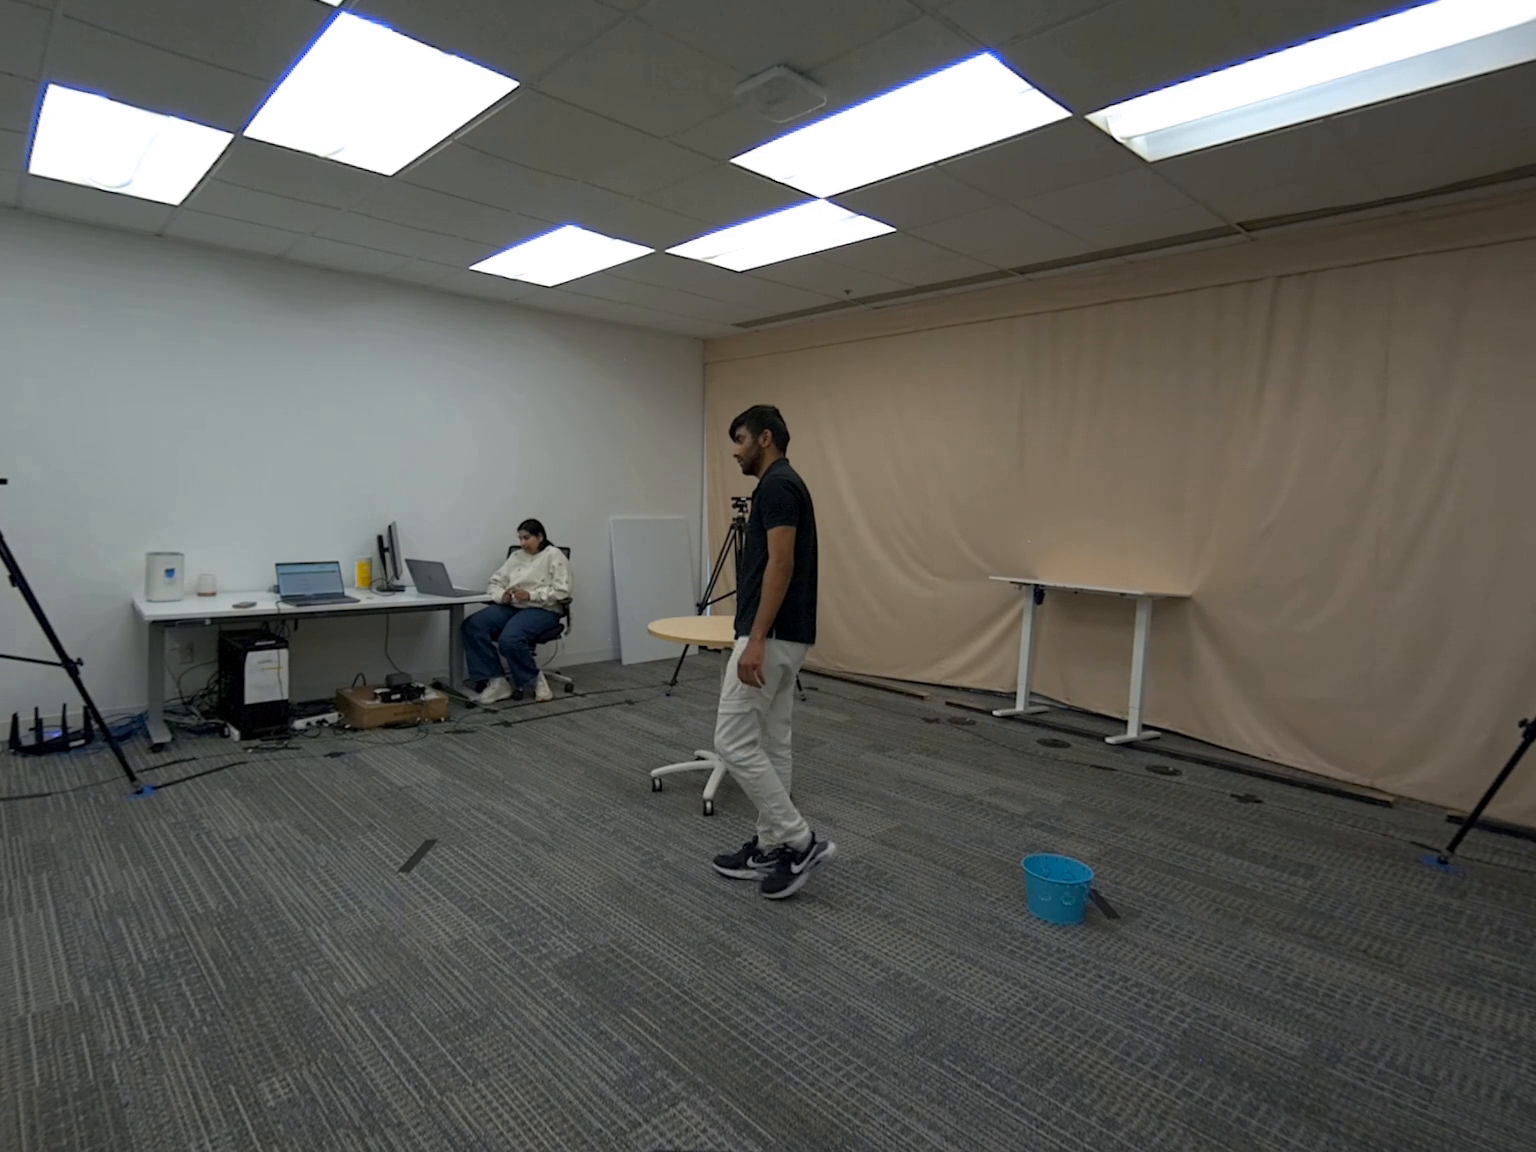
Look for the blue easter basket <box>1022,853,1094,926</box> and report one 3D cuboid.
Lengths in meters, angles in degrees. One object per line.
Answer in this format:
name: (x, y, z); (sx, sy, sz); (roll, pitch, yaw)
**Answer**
blue easter basket: (0.987, 1.074, 2.900); (0.243, 0.155, 0.244); (2, 4, -1)
